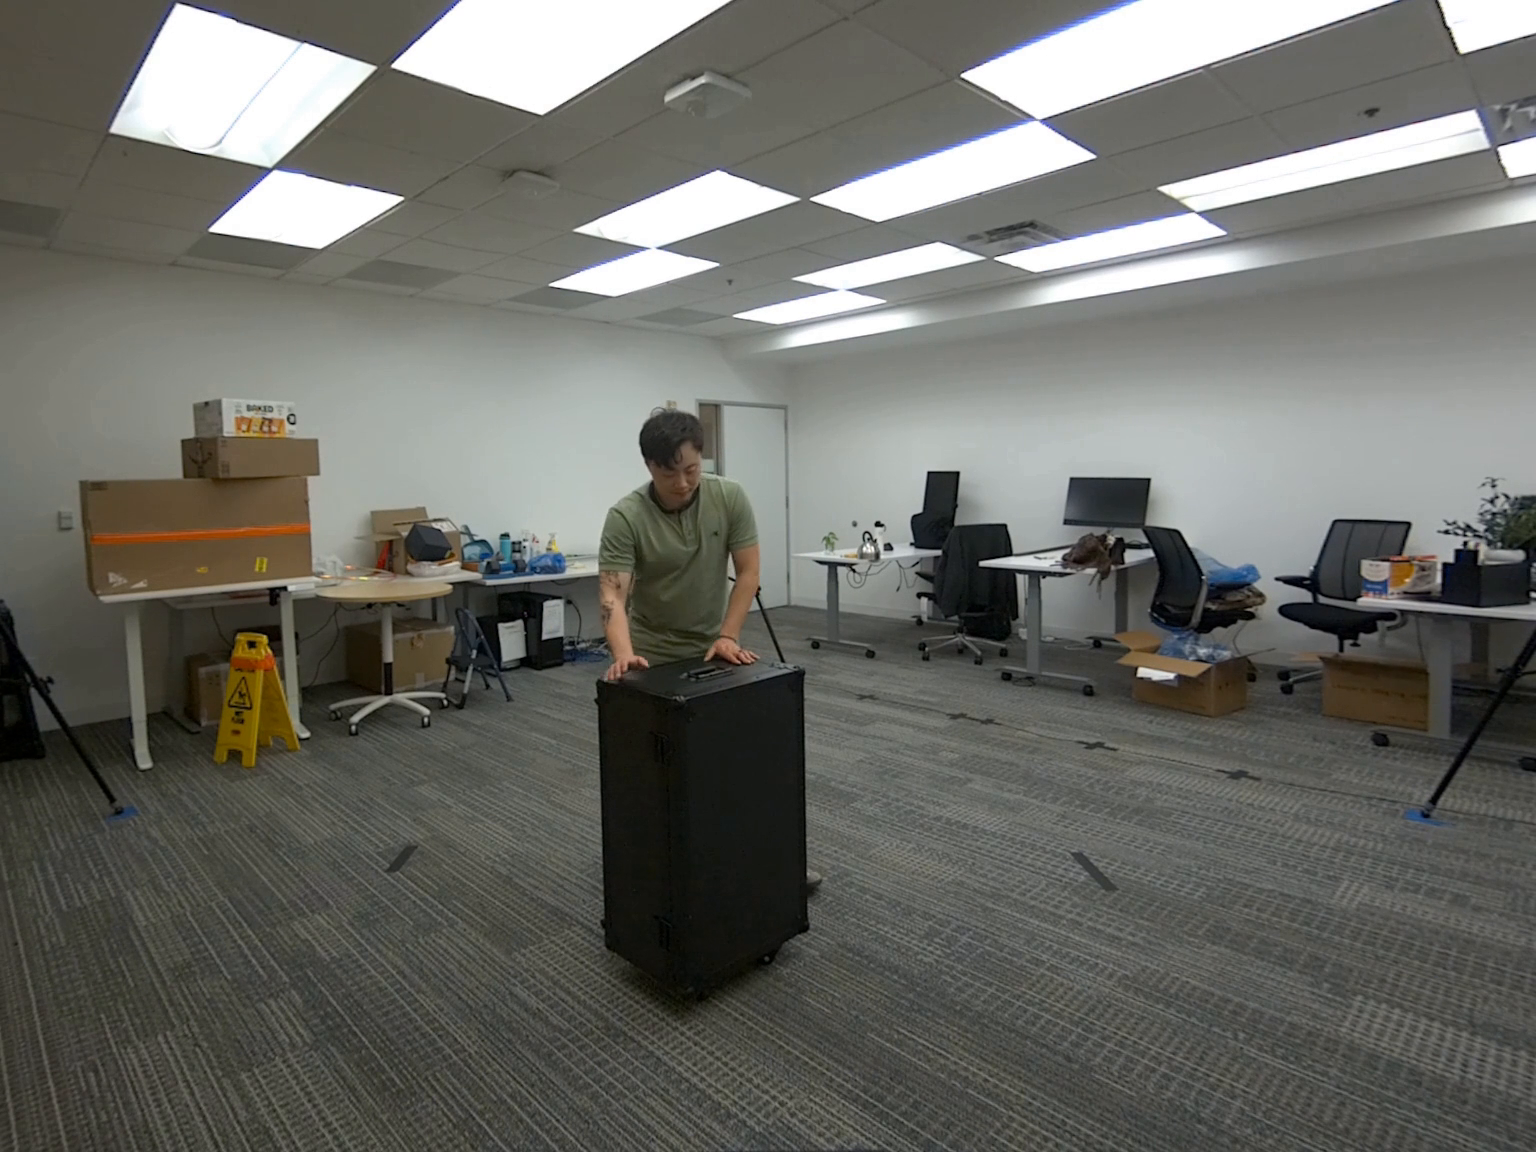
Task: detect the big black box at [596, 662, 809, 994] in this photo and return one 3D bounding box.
[{"bbox_3d":[-0.186,0.699,2.451,0.507,0.858,0.408,-5,6,-45],"label":"big black box"}]
